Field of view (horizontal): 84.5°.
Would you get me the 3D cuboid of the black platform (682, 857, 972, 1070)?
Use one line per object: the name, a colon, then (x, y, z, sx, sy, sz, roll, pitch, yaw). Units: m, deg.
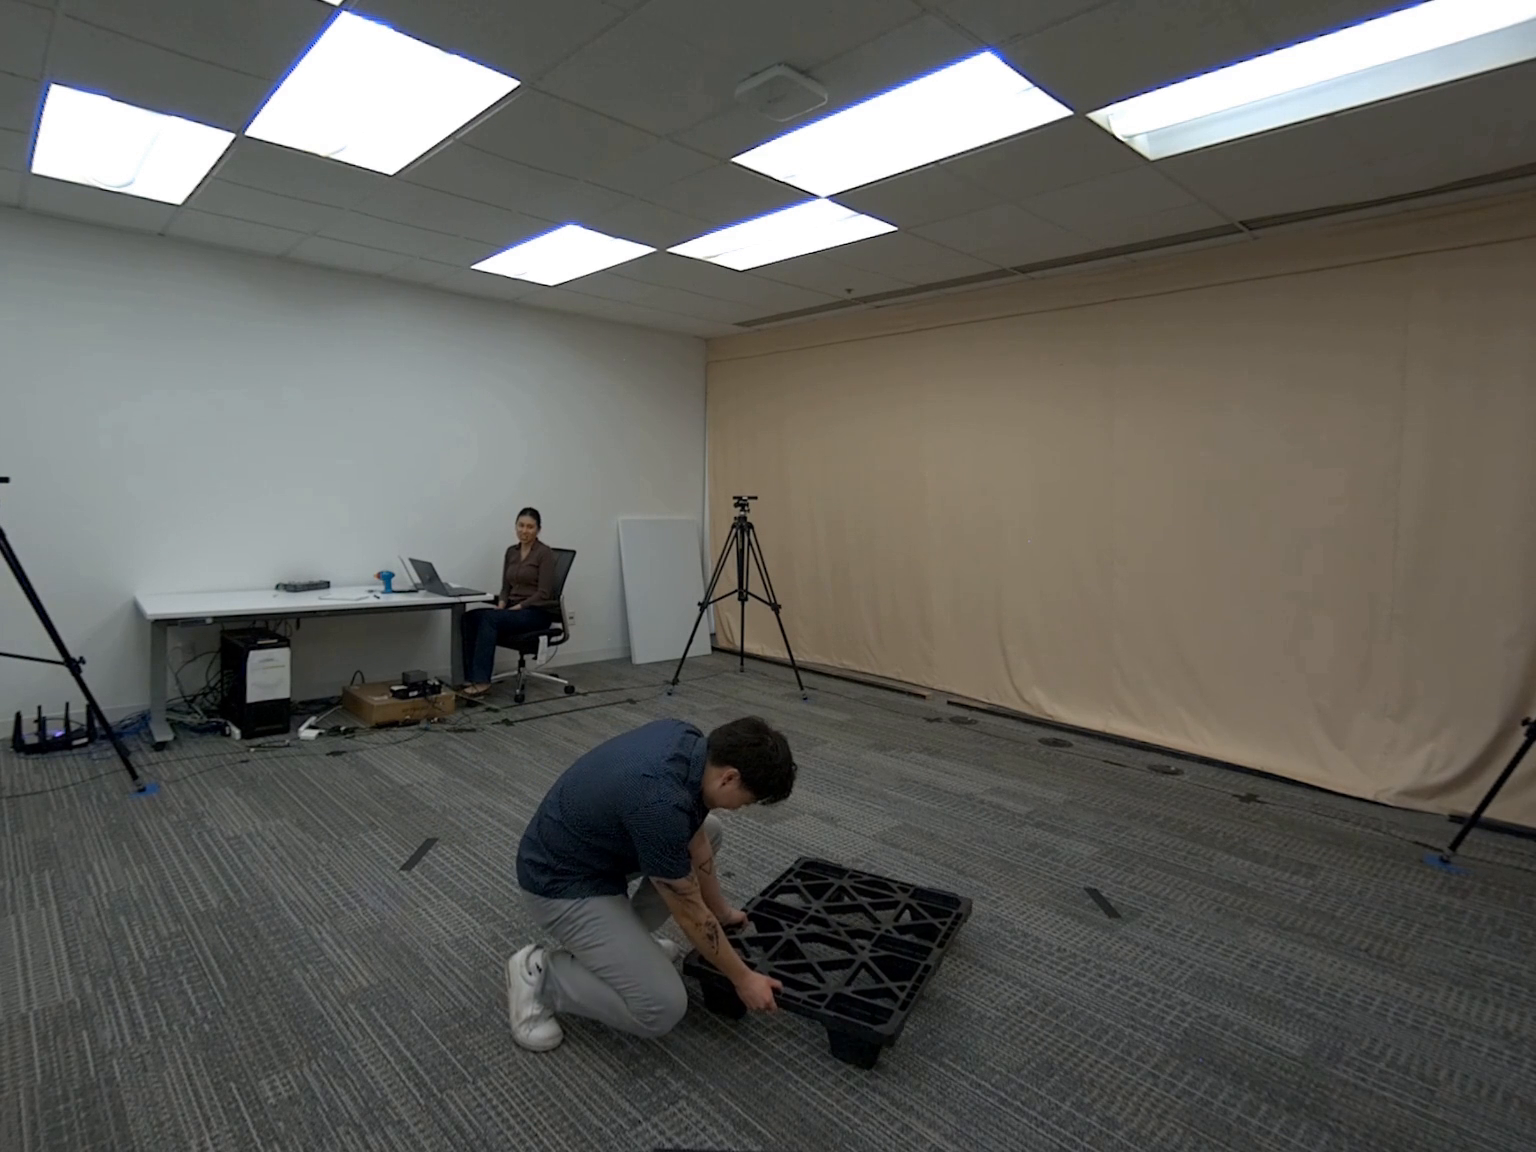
black platform: (0.209, 1.100, 2.489, 0.618, 0.143, 0.791, 5, 7, 27)
